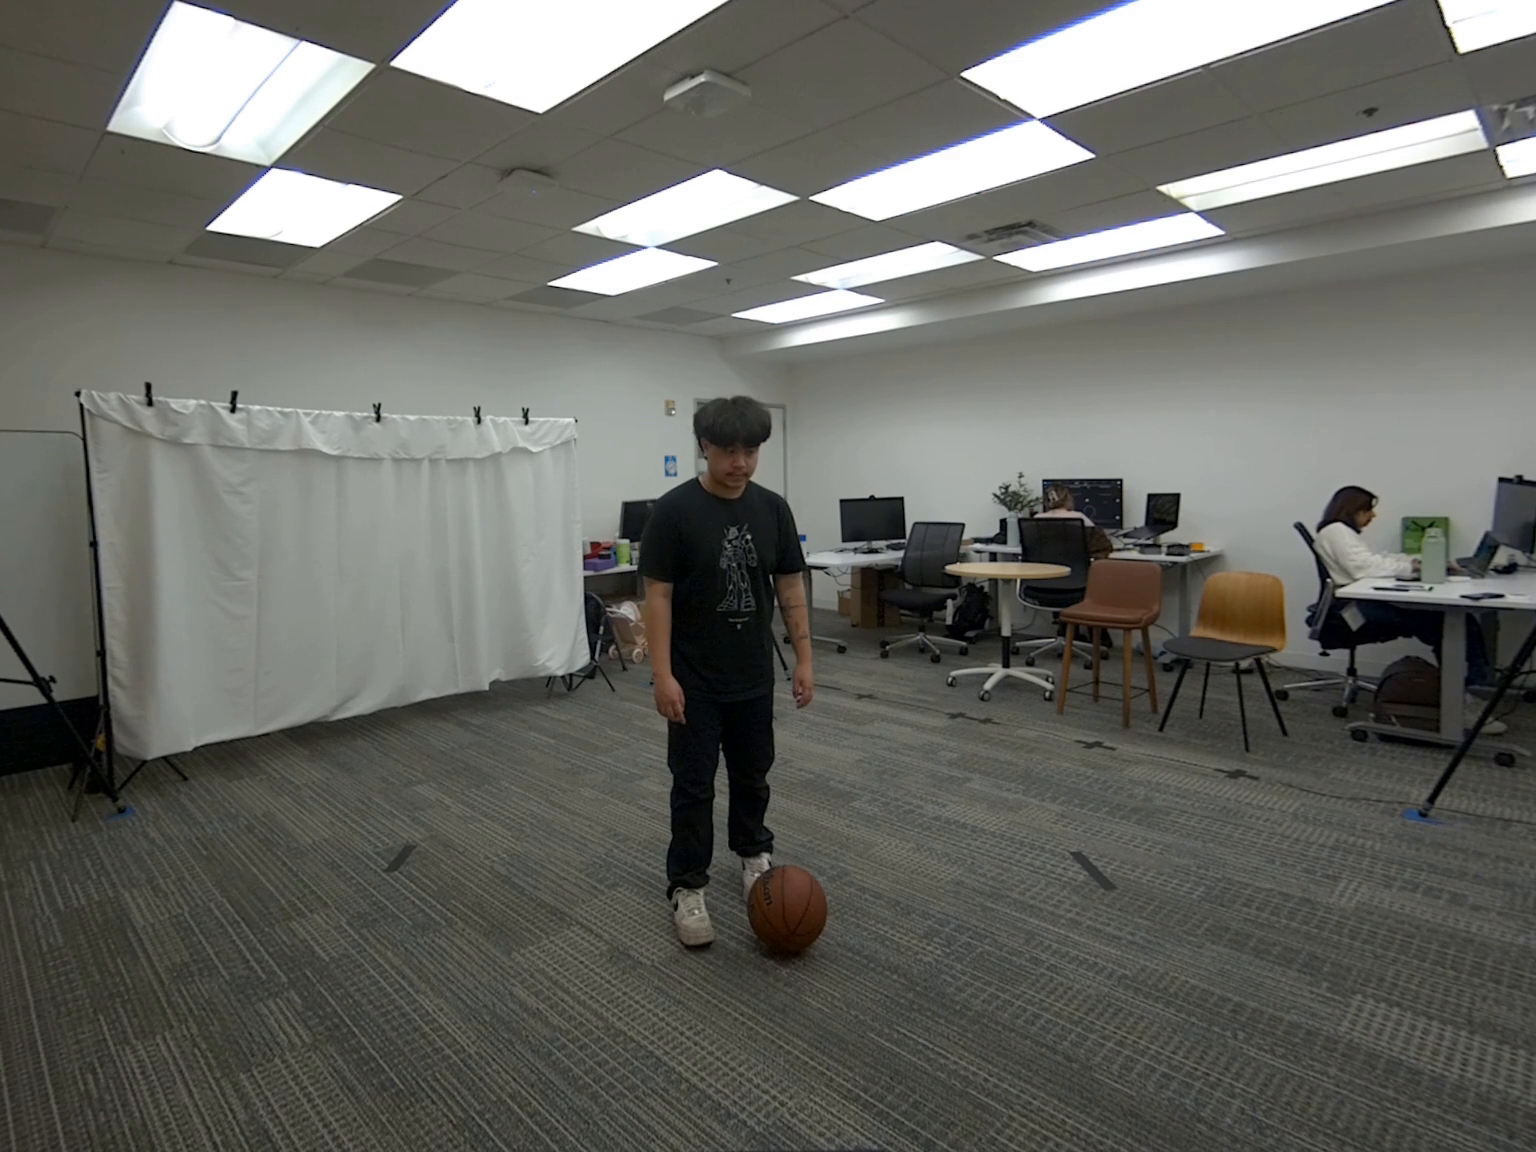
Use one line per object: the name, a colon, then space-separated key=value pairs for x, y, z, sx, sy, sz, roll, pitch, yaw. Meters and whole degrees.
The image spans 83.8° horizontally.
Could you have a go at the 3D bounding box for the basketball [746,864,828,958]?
basketball: x=0.066 y=0.987 z=2.535 sx=0.236 sy=0.235 sz=0.237 roll=-1 pitch=5 yaw=-2
